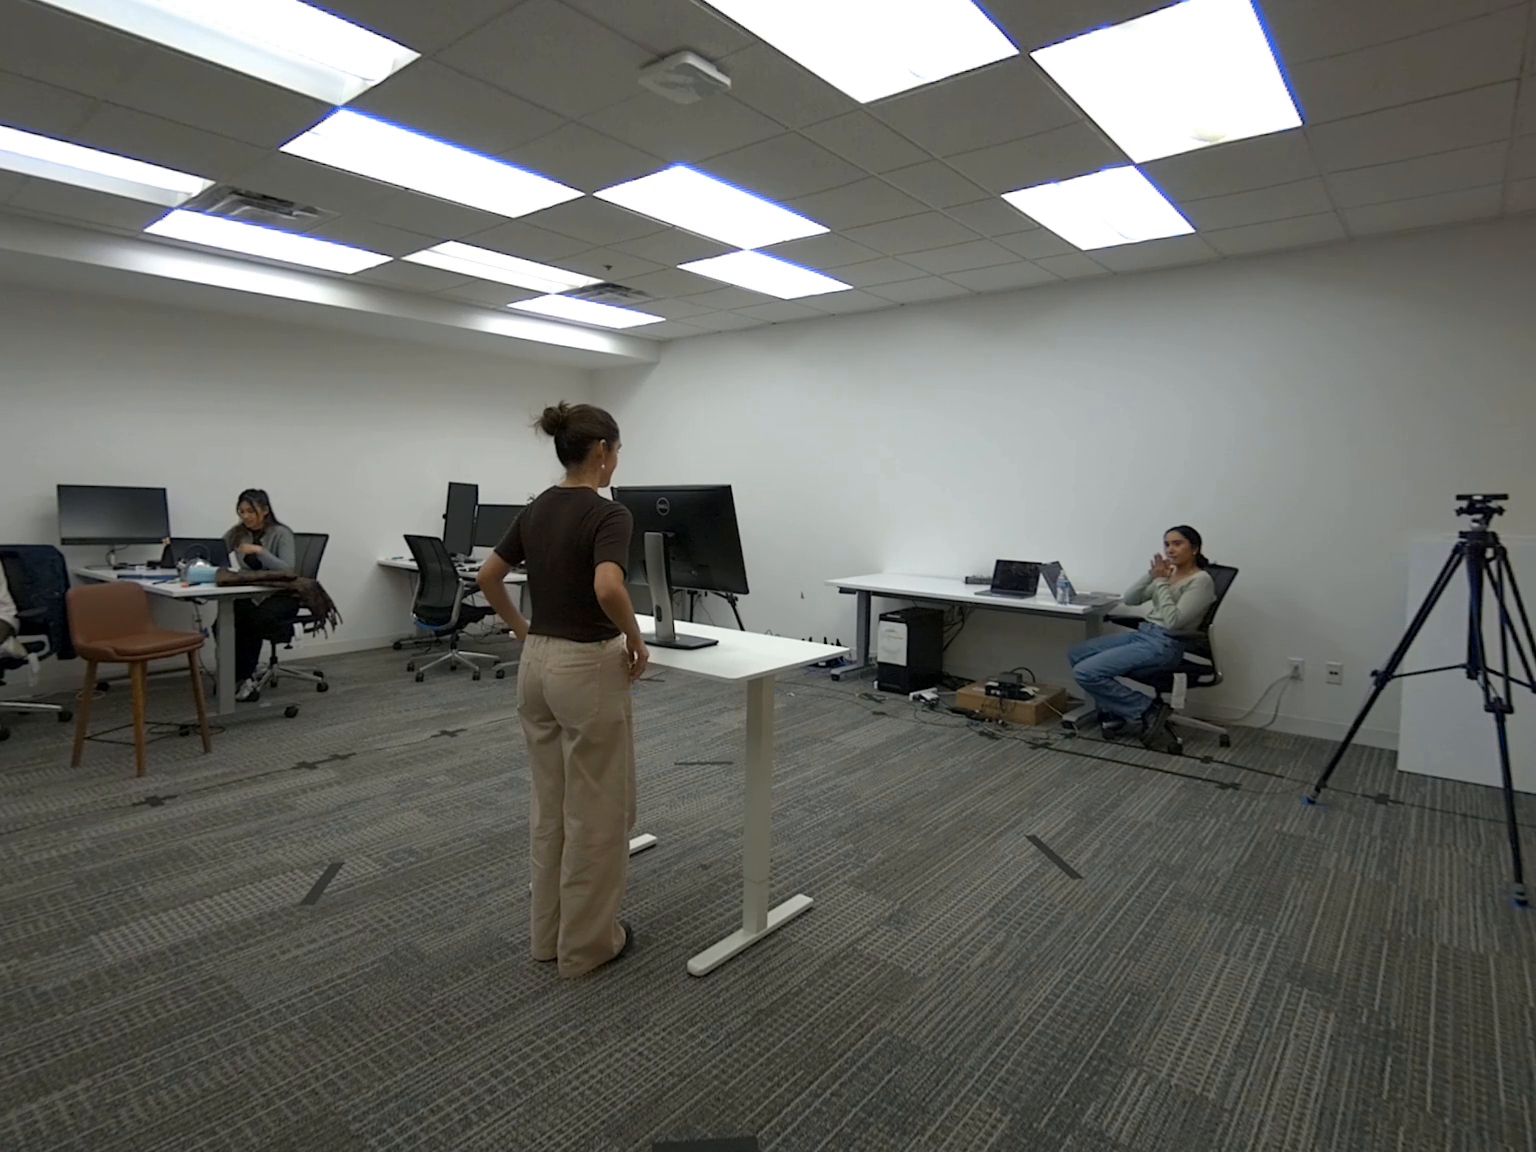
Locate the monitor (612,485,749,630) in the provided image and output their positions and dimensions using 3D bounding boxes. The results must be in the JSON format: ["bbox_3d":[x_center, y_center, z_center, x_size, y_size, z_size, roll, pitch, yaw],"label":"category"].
[{"bbox_3d":[-0.326,-0.037,2.768,0.557,0.520,0.182,3,5,38],"label":"monitor"}]
